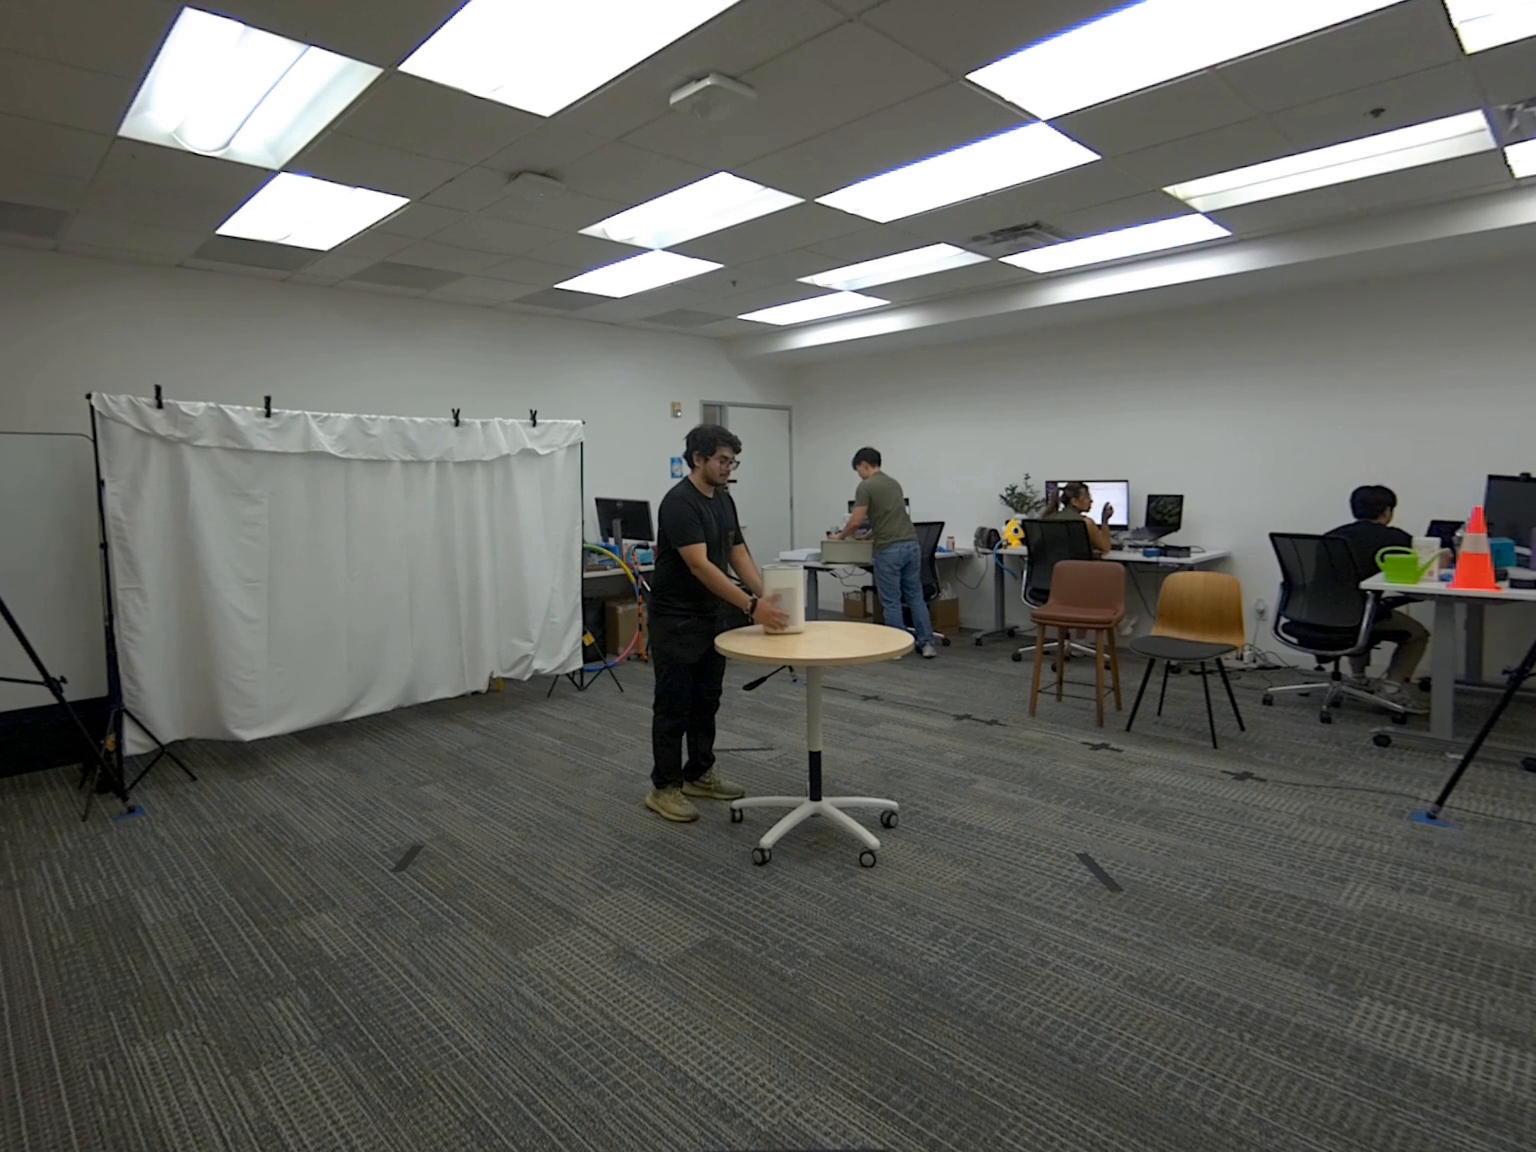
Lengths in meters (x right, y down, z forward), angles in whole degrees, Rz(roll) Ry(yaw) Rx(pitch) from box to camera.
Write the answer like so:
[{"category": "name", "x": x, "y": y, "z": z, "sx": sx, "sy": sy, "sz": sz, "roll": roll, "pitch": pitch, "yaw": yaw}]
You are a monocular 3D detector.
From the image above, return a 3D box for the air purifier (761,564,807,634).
[{"category": "air purifier", "x": 0.061, "y": 0.090, "z": 3.460, "sx": 0.172, "sy": 0.264, "sz": 0.171, "roll": -1, "pitch": 4, "yaw": 3}]
